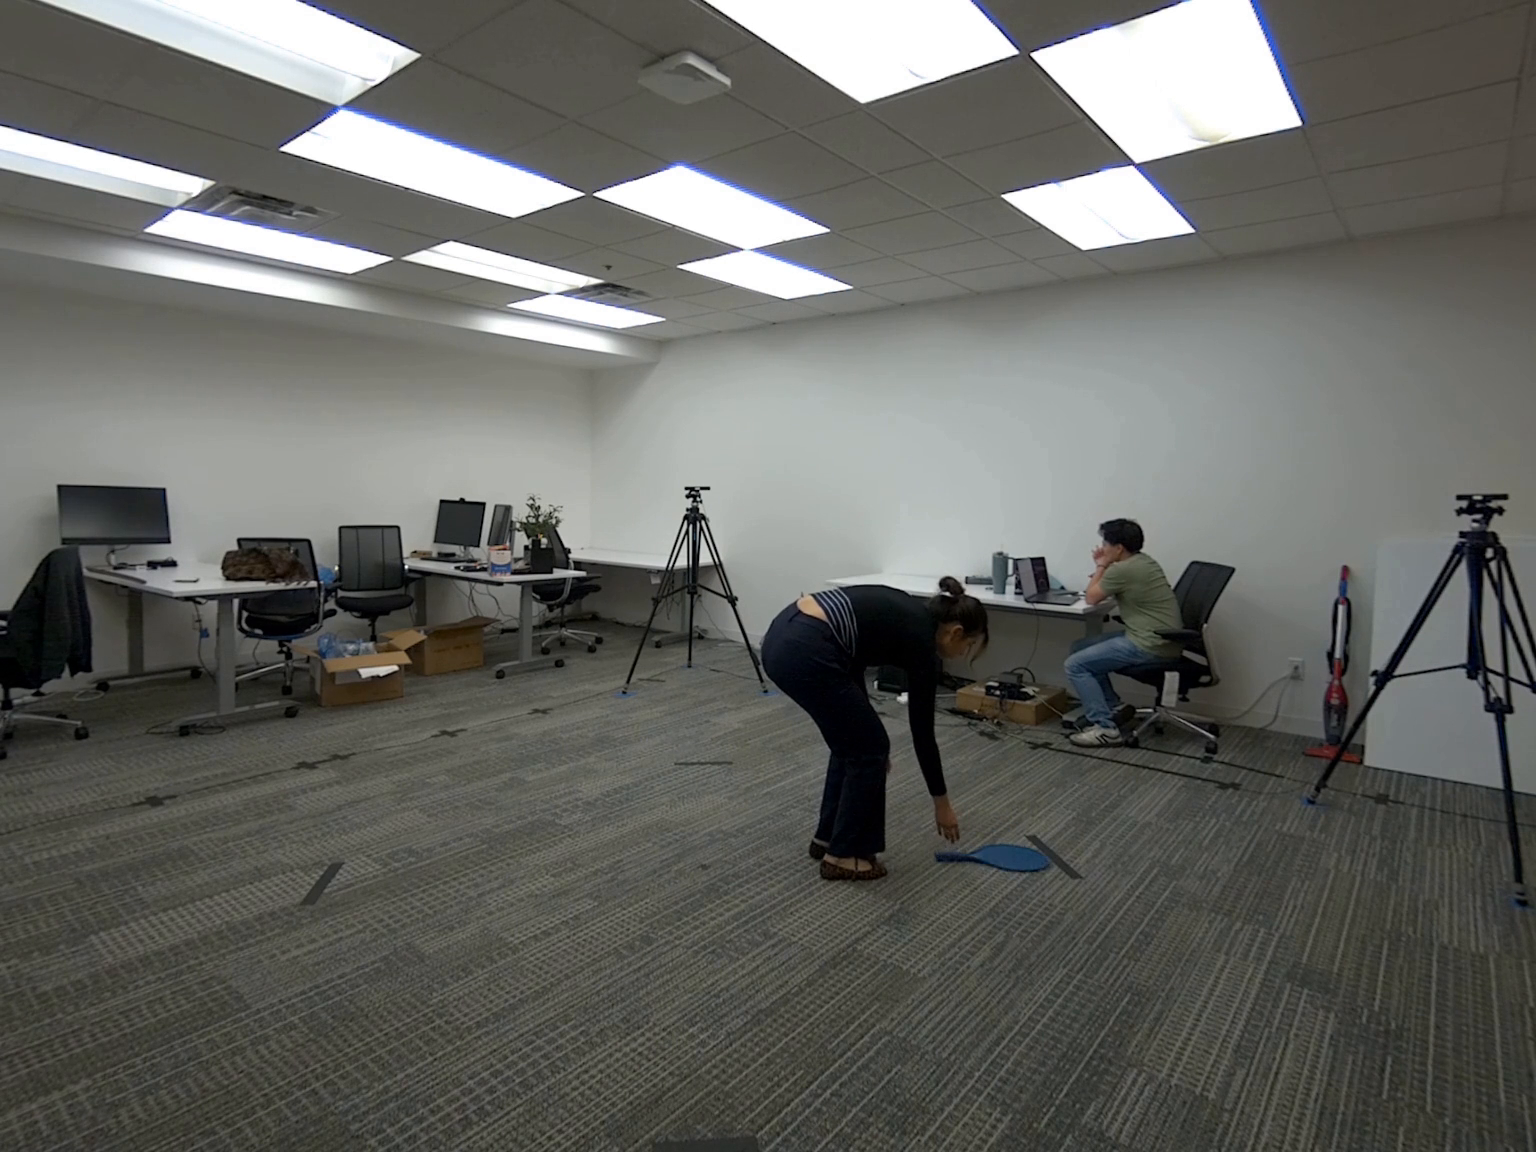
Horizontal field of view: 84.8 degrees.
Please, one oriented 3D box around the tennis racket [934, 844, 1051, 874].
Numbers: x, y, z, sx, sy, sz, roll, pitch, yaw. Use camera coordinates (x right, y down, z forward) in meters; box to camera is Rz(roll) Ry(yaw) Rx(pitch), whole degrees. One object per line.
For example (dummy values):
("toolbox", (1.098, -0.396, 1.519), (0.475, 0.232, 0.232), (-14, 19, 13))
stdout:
("tennis racket", (0.845, 1.053, 3.221), (0.430, 0.031, 0.216), (4, 5, -6))
